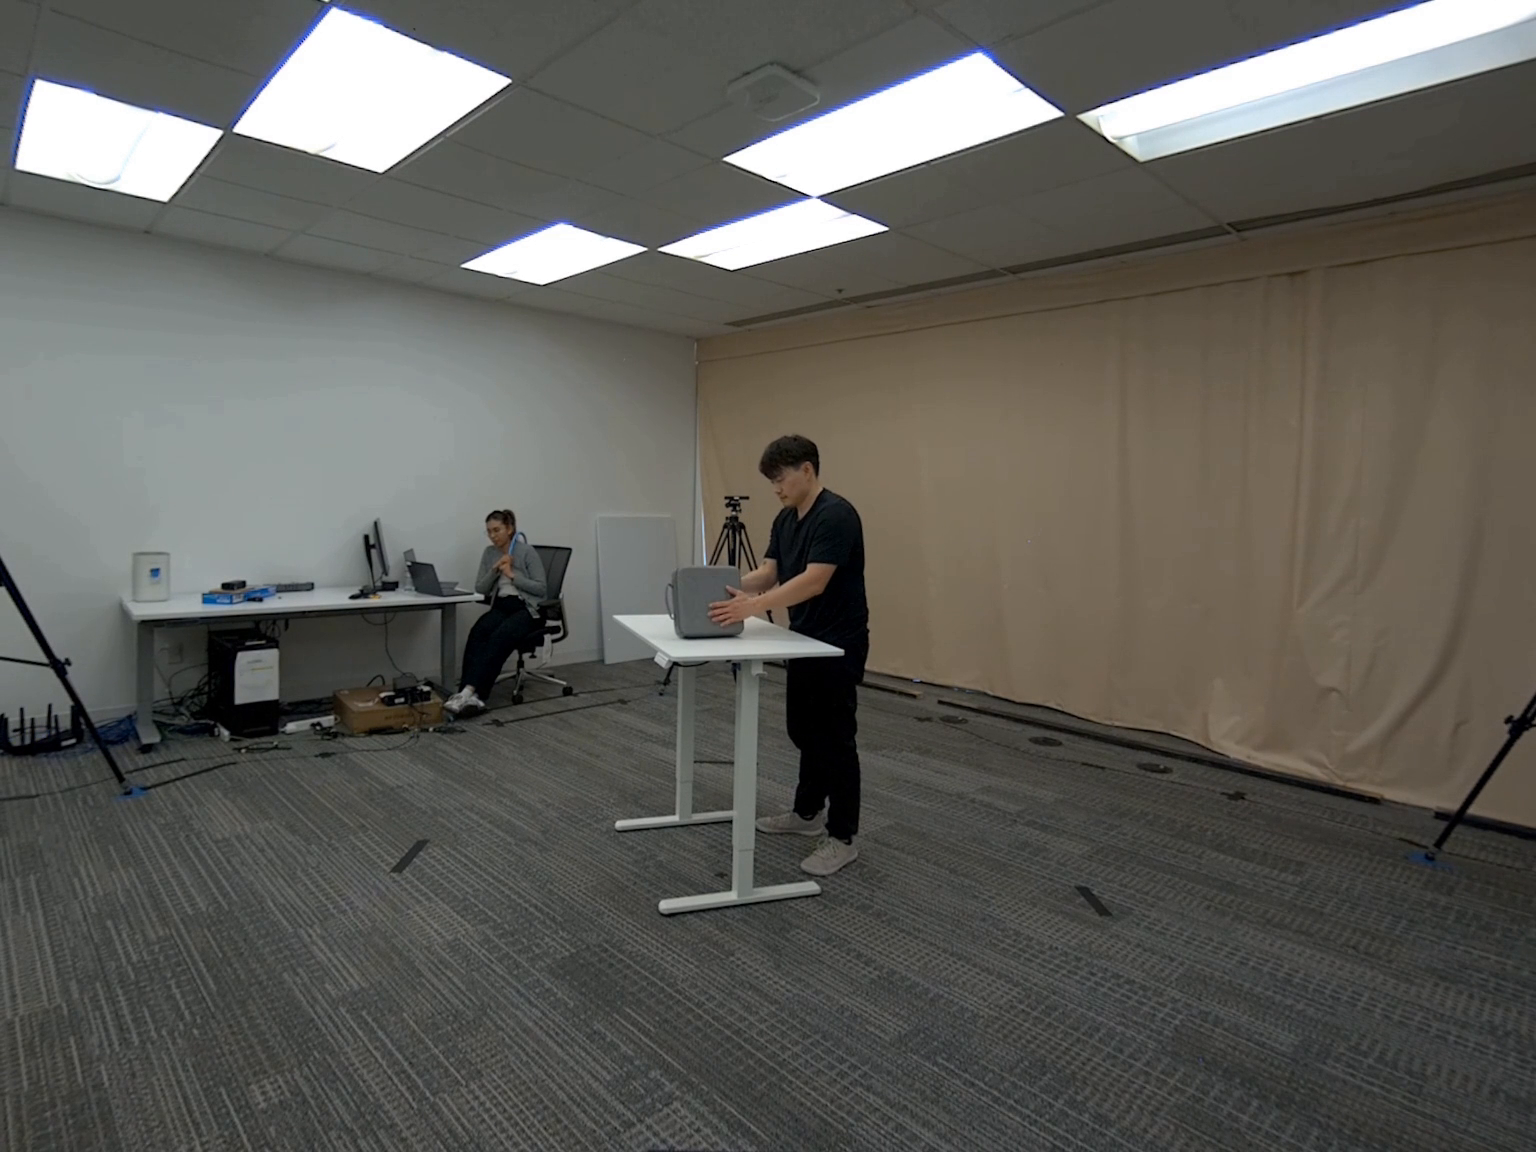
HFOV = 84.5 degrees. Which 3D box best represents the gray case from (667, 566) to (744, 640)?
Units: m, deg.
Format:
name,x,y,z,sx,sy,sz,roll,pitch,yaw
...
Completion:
name,x,y,z,sx,sy,sz,roll,pitch,yaw
gray case,-0.239,0.098,3.061,0.256,0.259,0.105,1,-11,-23
